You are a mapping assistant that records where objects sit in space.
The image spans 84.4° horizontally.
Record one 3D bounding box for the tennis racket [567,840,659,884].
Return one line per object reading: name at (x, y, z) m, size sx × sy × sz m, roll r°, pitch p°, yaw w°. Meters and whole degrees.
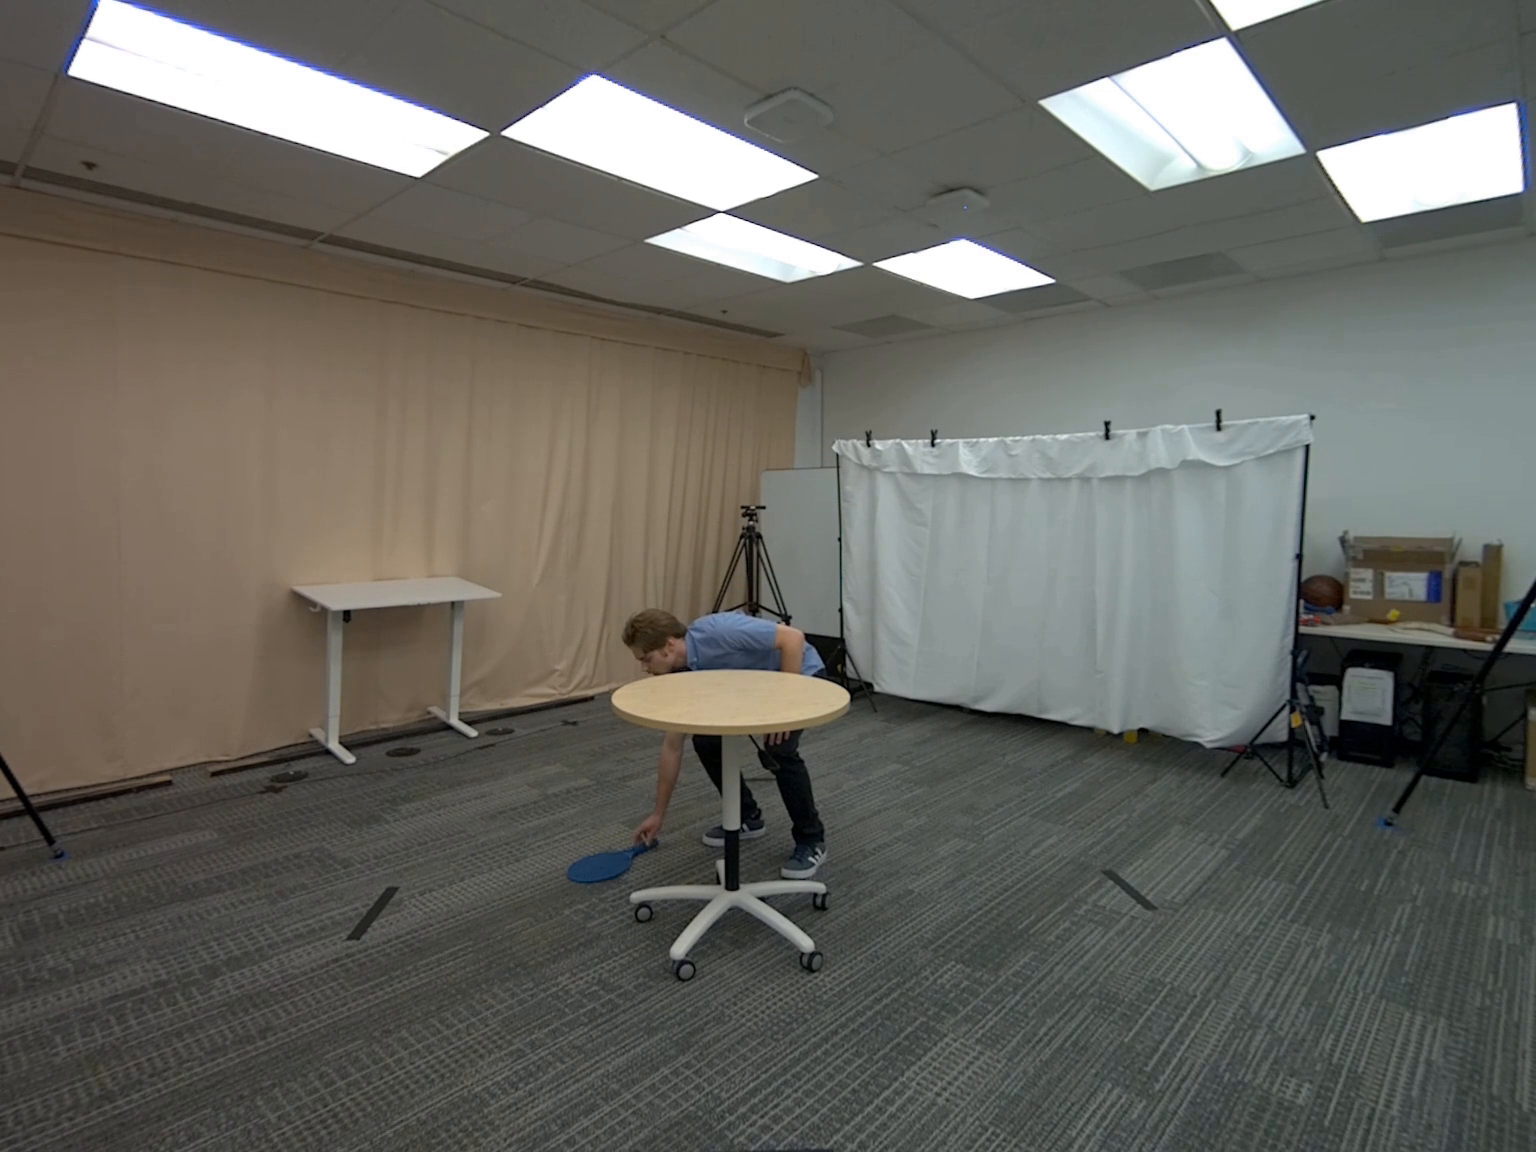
tennis racket at (-0.596, 1.110, 3.296) m, size 0.221 × 0.031 × 0.420 m, roll 2°, pitch 7°, yaw 40°
